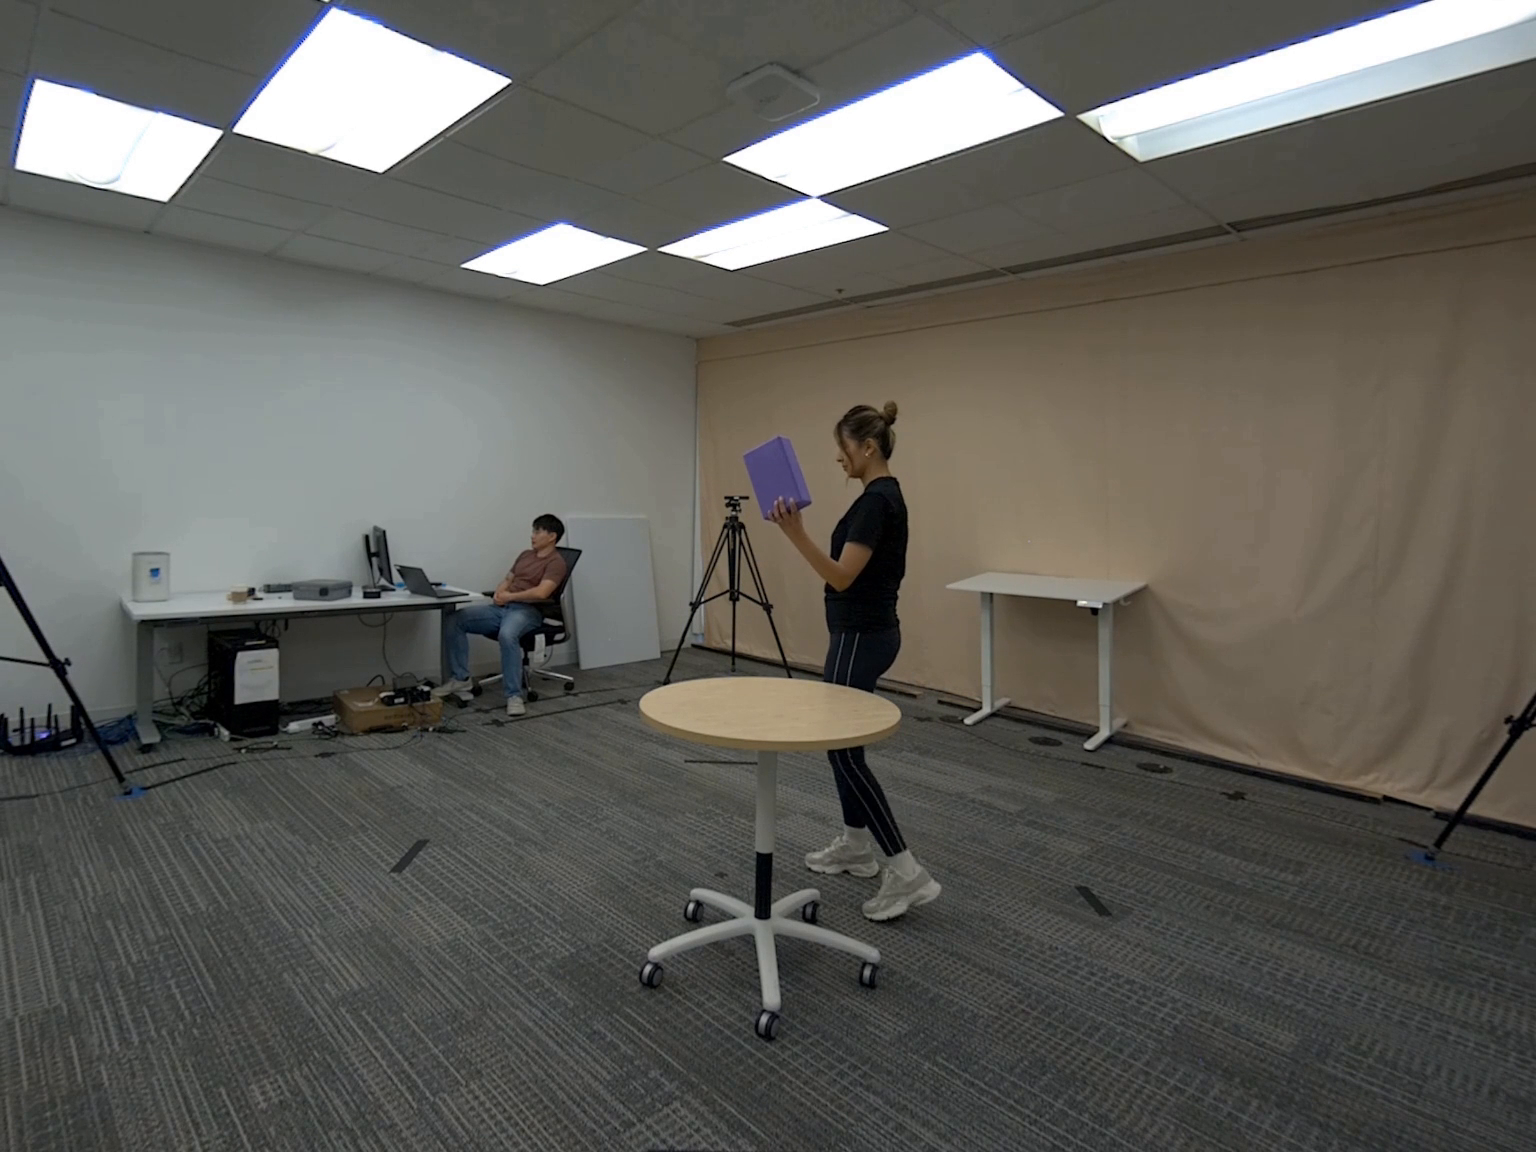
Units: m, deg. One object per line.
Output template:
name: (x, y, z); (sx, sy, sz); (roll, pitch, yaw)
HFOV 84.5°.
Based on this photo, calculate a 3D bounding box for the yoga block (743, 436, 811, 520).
yoga block: (0.026, -0.302, 2.625); (0.150, 0.232, 0.075); (-24, -14, 29)
